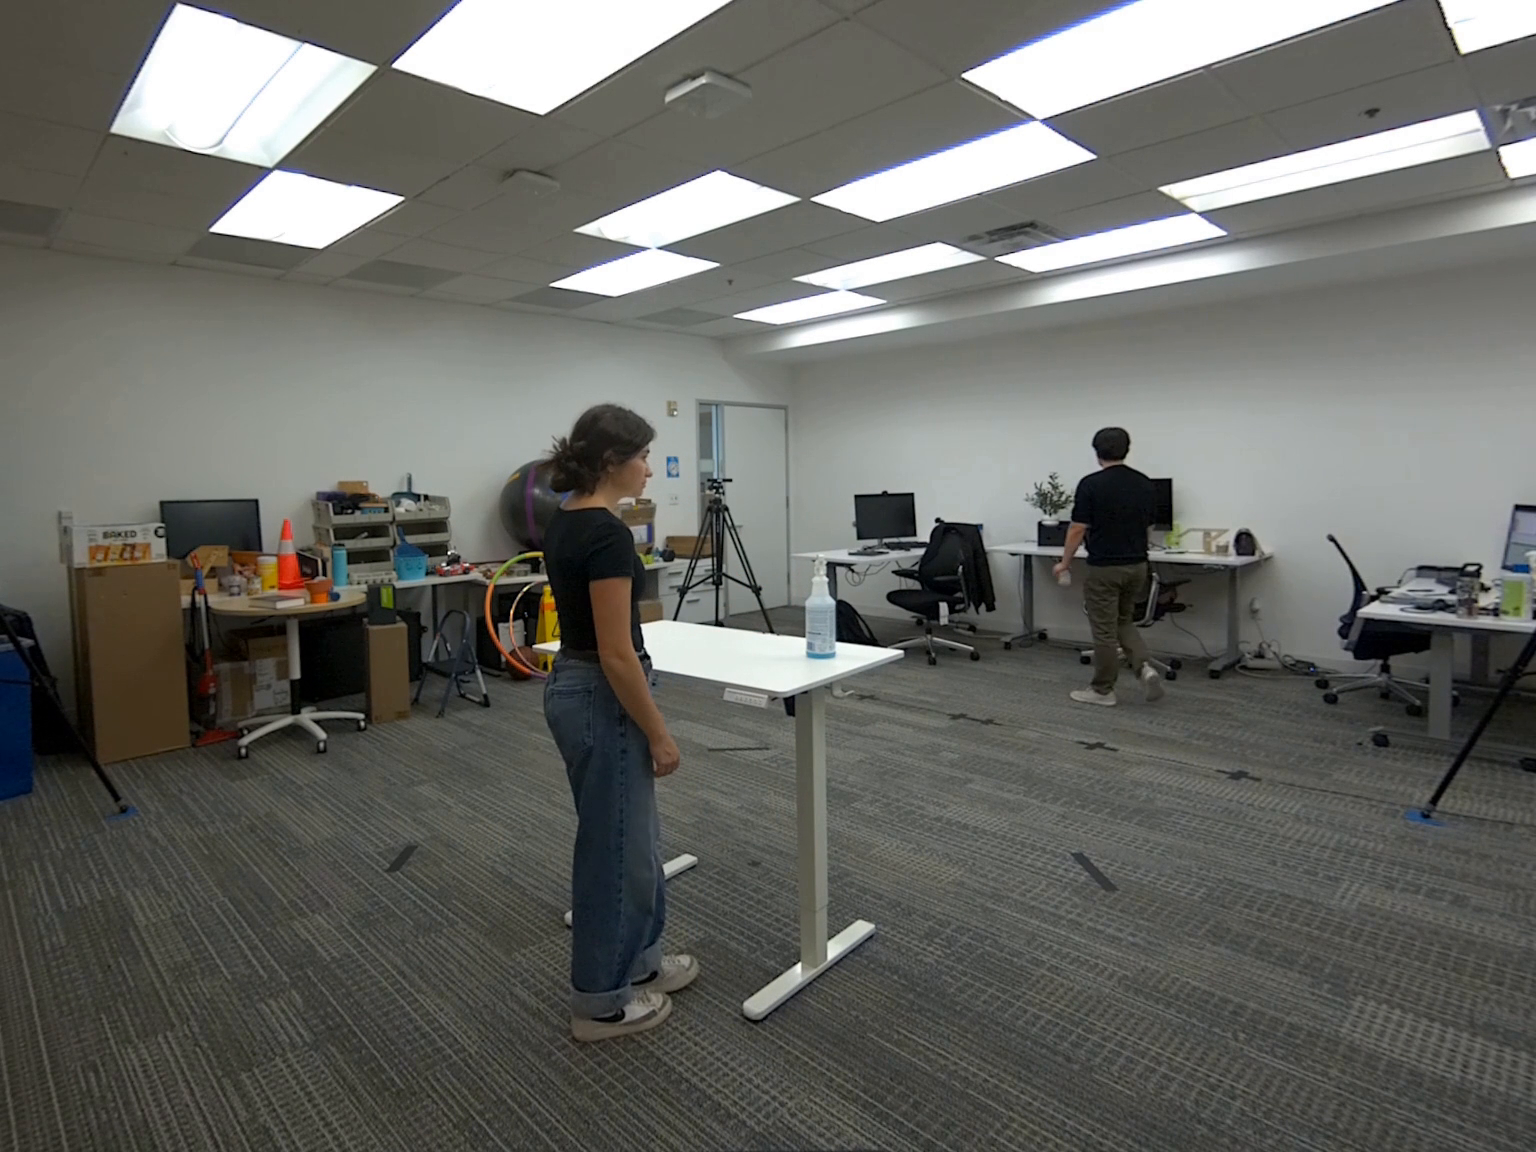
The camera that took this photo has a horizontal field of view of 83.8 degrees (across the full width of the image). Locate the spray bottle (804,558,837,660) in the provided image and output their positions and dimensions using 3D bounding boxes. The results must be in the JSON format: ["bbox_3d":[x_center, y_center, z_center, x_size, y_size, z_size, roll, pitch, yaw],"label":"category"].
[{"bbox_3d":[0.167,0.091,2.452,0.089,0.296,0.088,5,7,23],"label":"spray bottle"}]
